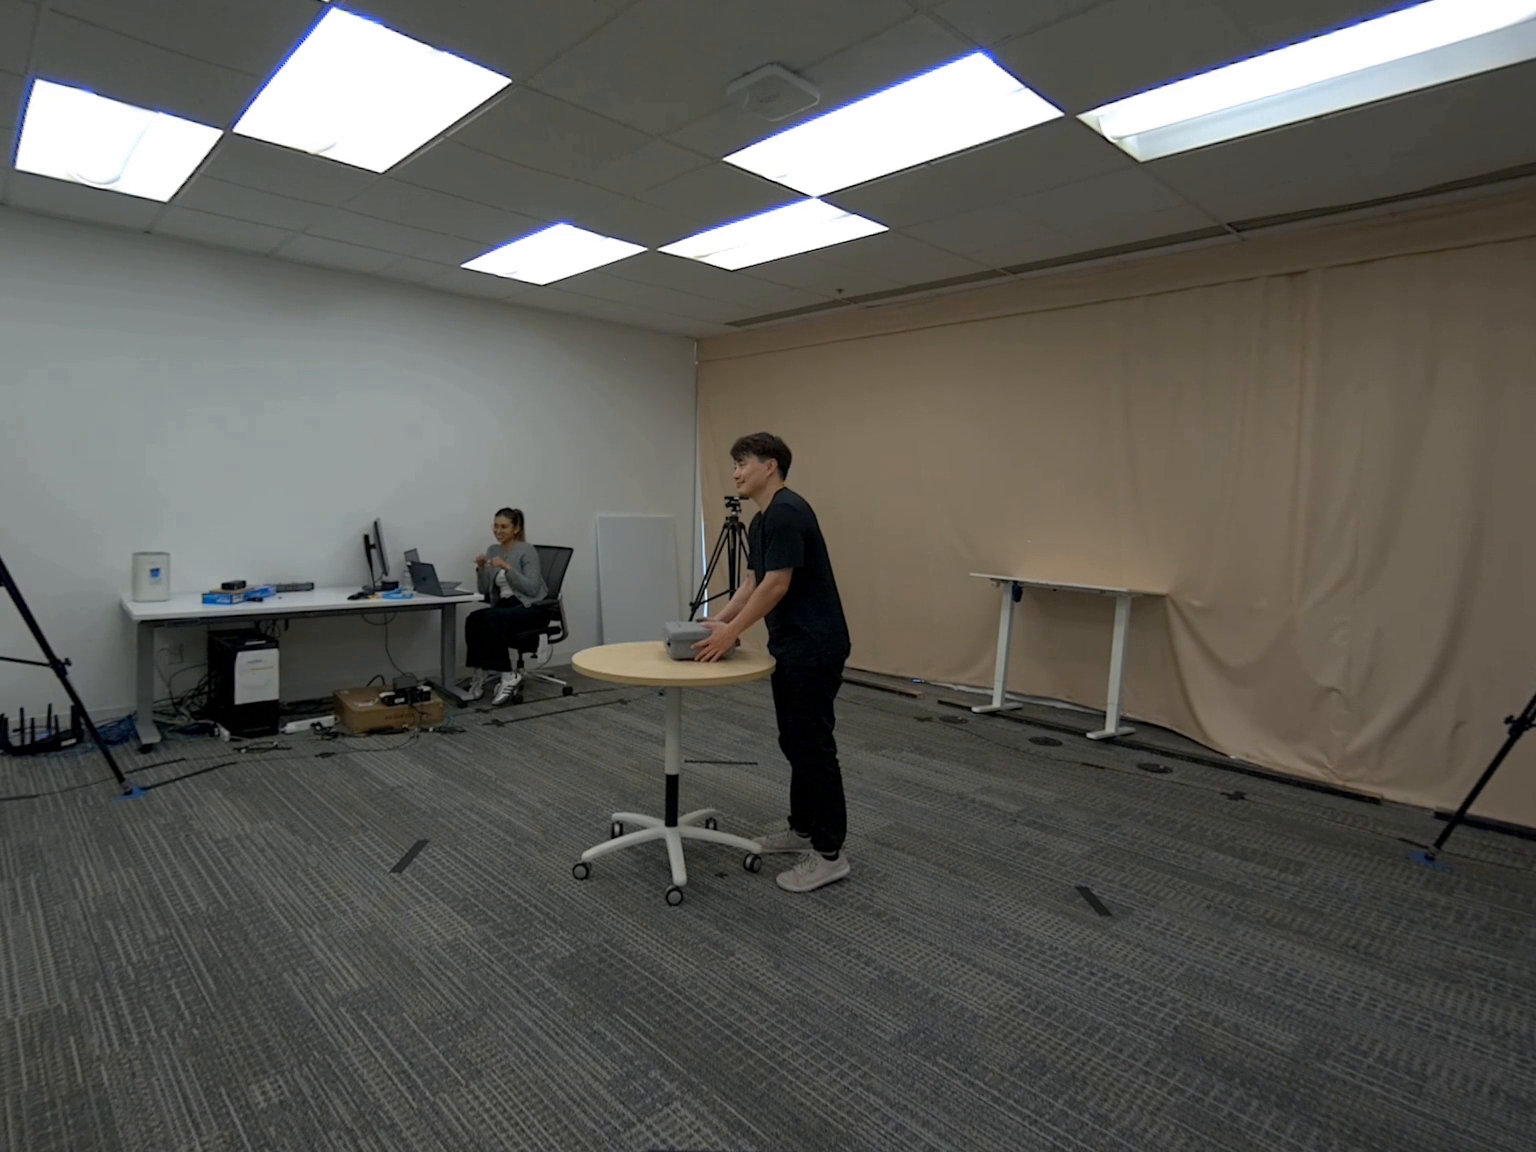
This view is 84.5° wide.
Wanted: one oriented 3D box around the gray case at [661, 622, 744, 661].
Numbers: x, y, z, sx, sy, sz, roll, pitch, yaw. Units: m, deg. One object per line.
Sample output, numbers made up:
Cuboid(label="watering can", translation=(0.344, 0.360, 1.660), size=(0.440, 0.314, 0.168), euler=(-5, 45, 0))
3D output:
Cuboid(label="gray case", translation=(-0.256, 0.243, 3.230), size=(0.257, 0.104, 0.260), euler=(-1, 3, -16))
